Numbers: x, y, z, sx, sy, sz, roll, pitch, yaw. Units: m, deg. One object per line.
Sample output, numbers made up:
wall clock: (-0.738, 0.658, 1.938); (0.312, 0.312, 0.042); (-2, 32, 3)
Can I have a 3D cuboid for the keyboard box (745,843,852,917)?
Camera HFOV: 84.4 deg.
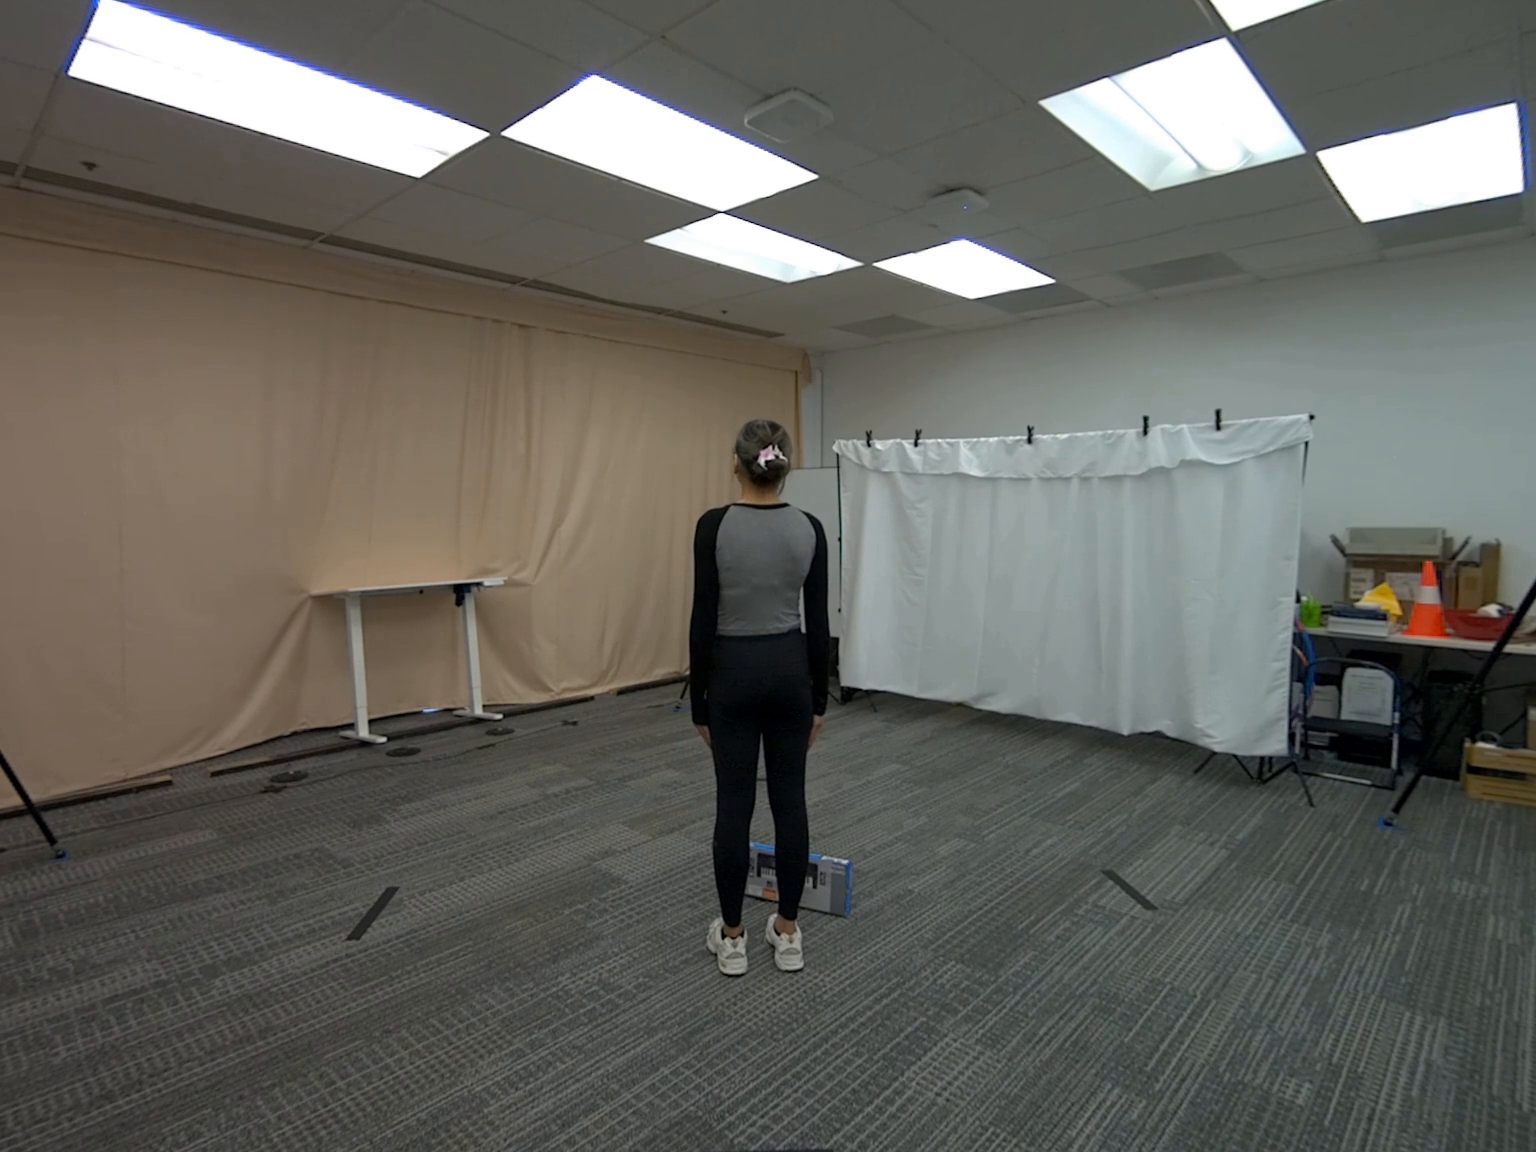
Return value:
keyboard box: (0.078, 1.059, 2.962); (0.448, 0.176, 0.057); (2, -2, 25)
